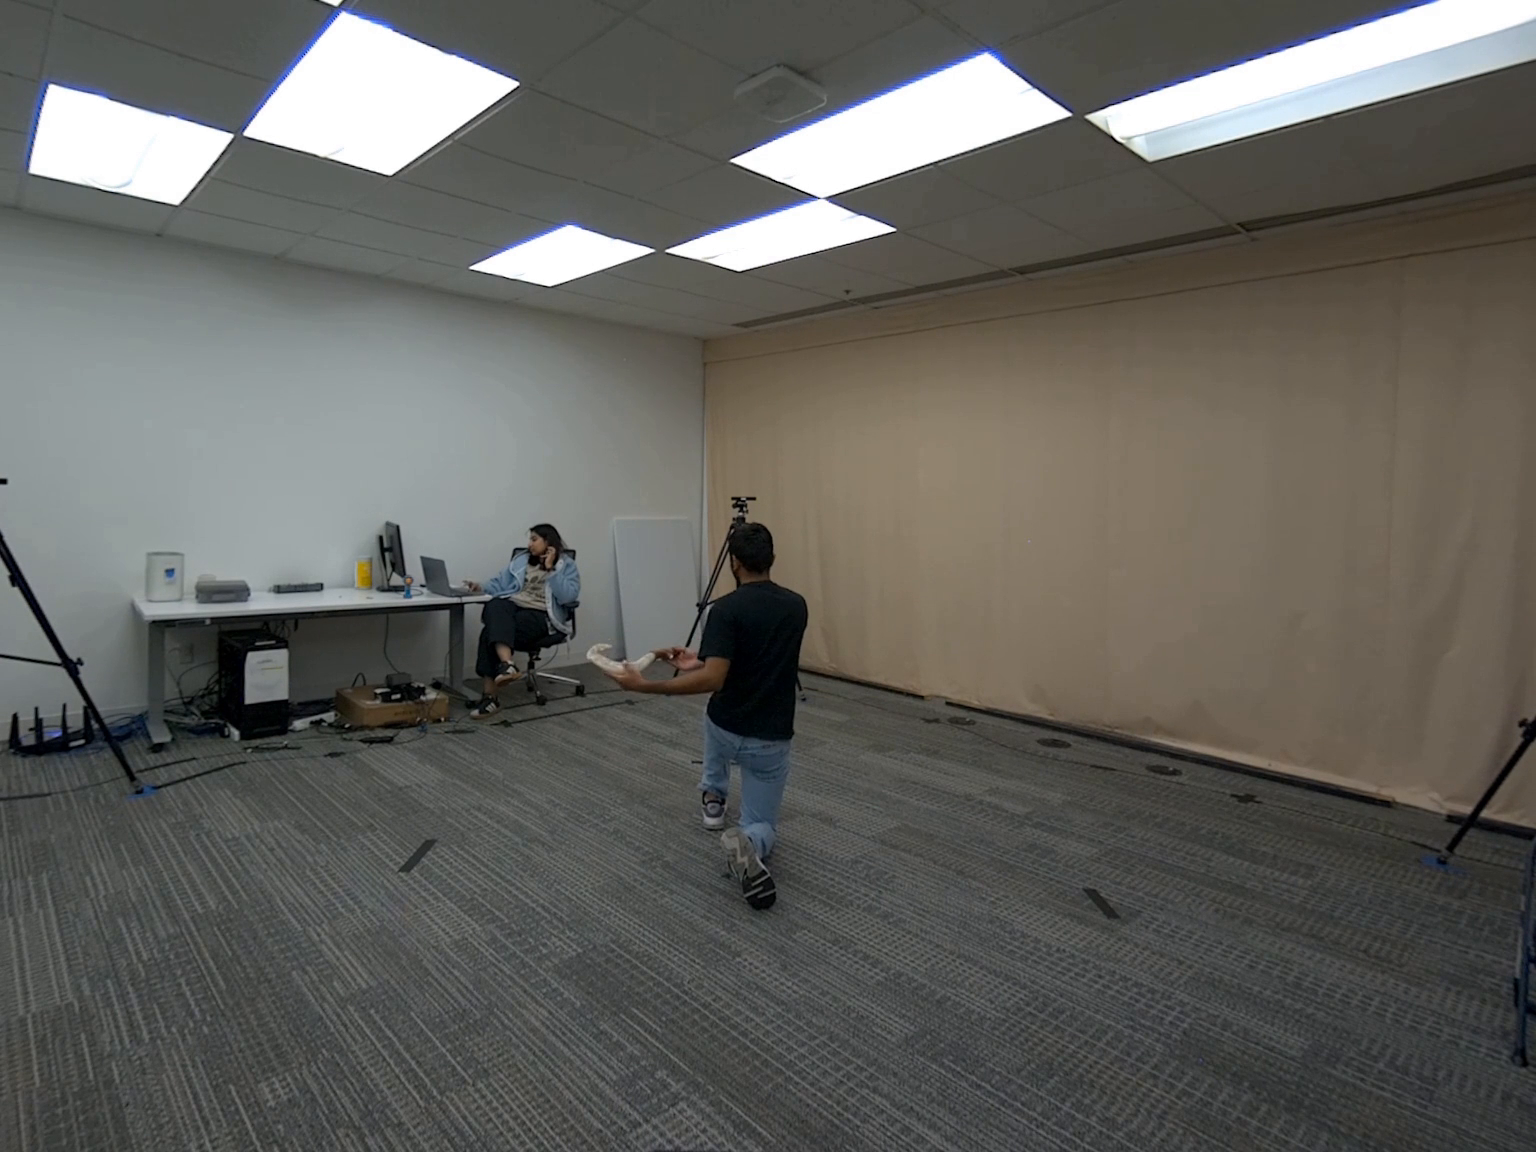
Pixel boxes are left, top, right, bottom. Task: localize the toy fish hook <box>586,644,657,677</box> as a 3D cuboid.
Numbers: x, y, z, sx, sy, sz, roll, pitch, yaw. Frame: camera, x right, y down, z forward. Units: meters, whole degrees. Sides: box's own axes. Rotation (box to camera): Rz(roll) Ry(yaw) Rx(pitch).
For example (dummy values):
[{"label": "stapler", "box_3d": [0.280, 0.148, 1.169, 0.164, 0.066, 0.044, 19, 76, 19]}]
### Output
[{"label": "toy fish hook", "box_3d": [-0.527, 0.310, 3.400, 0.229, 0.048, 0.498, 29, 15, 20]}]
